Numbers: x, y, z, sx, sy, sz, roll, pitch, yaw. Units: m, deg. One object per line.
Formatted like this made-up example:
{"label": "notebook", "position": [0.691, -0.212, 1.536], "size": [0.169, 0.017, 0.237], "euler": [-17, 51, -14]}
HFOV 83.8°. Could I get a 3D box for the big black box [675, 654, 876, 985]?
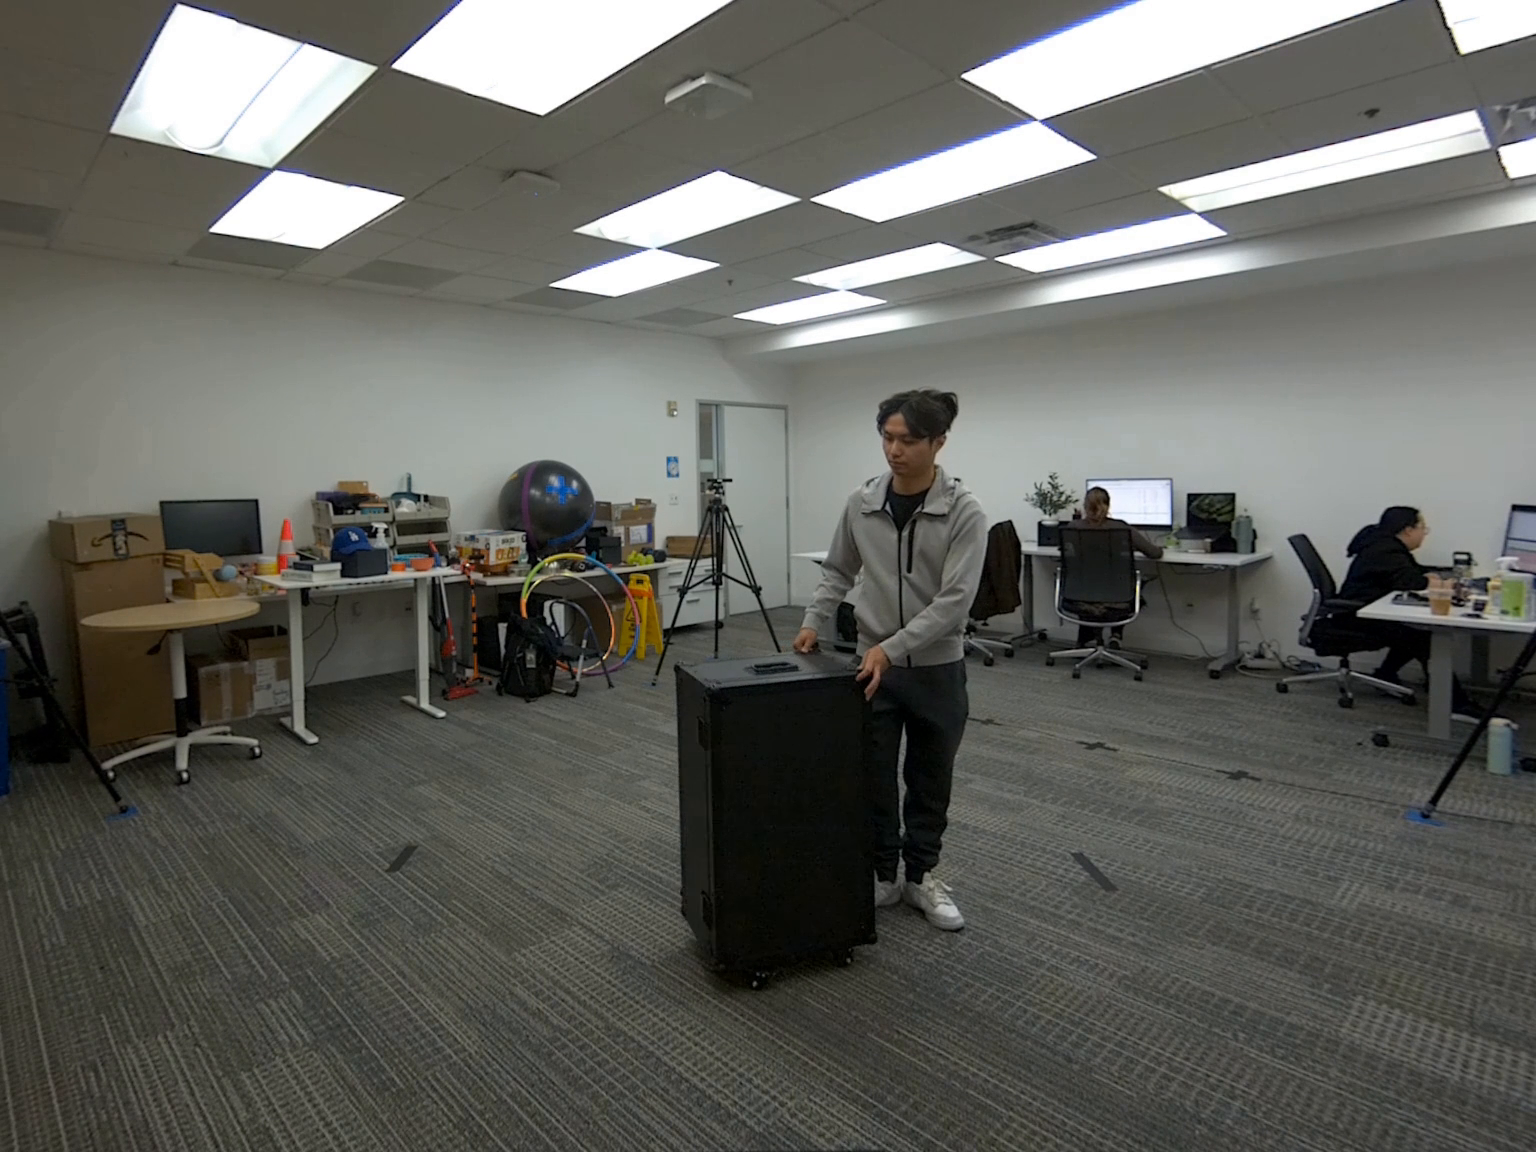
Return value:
{"label": "big black box", "position": [0.004, 0.693, 2.504], "size": [0.512, 0.859, 0.404], "euler": [-2, 3, -19]}
